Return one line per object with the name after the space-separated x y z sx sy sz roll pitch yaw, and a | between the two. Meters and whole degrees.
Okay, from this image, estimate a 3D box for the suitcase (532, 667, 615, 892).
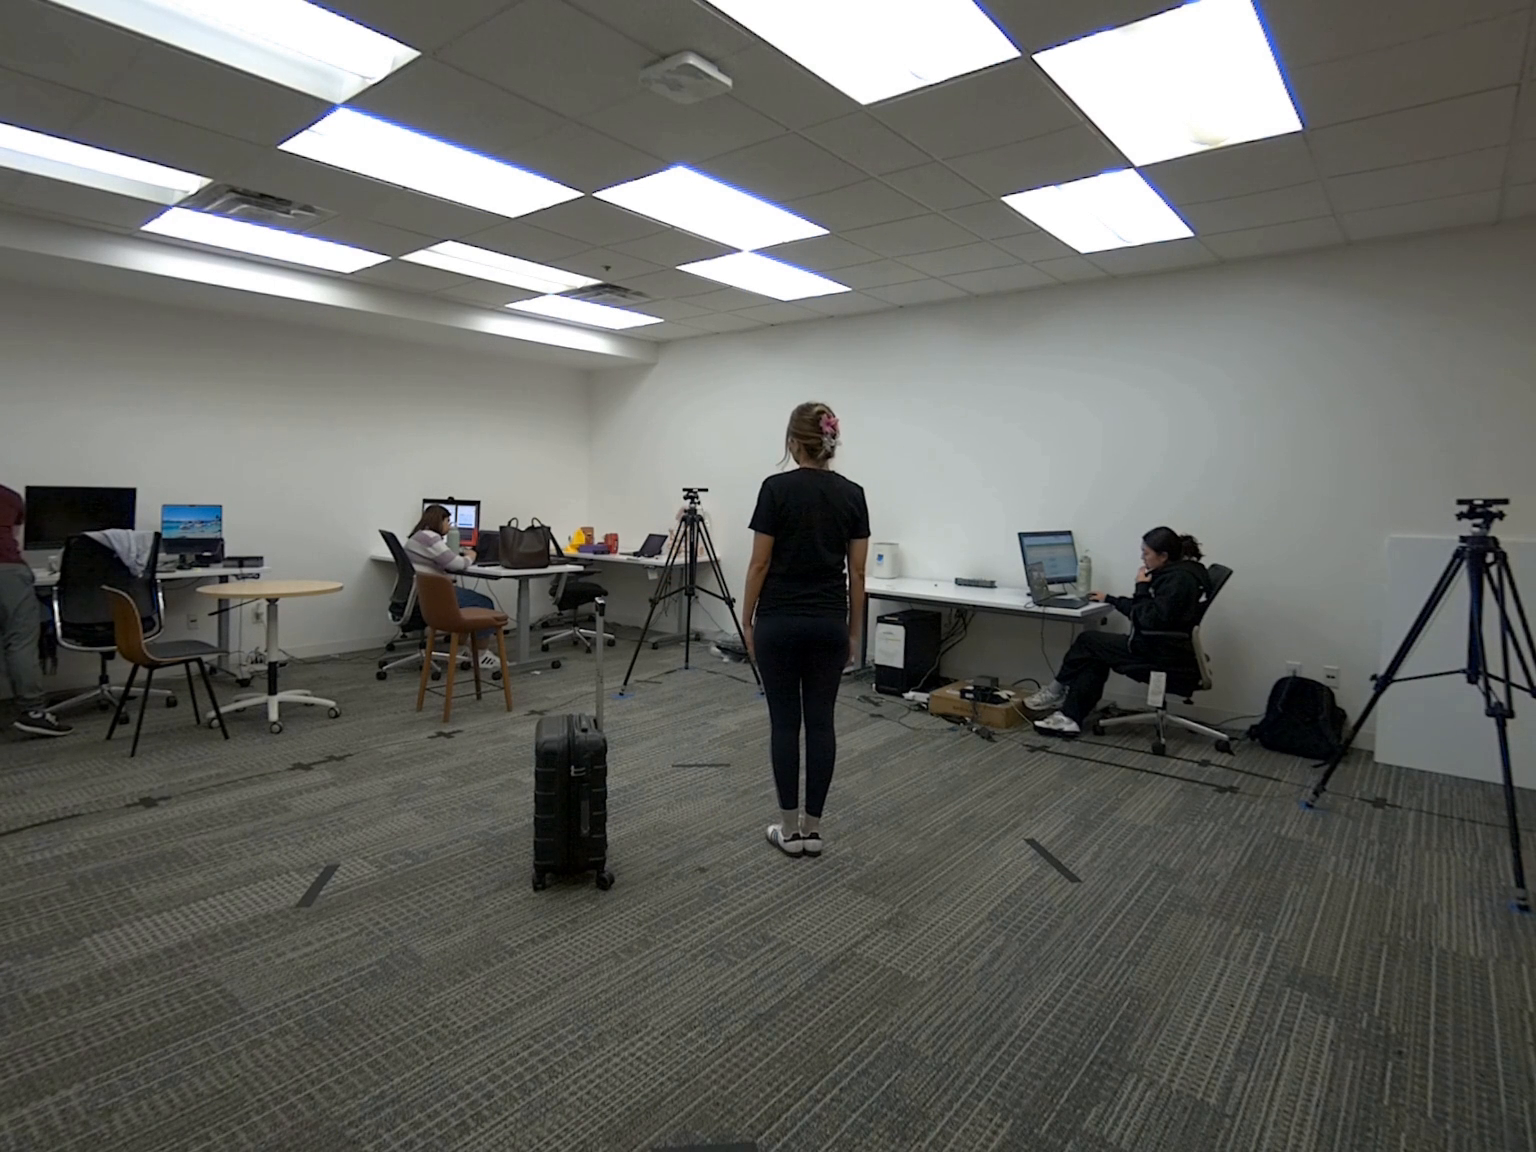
-0.726 0.586 3.061 0.254 0.976 0.389 -1 2 -11 | suitcase
